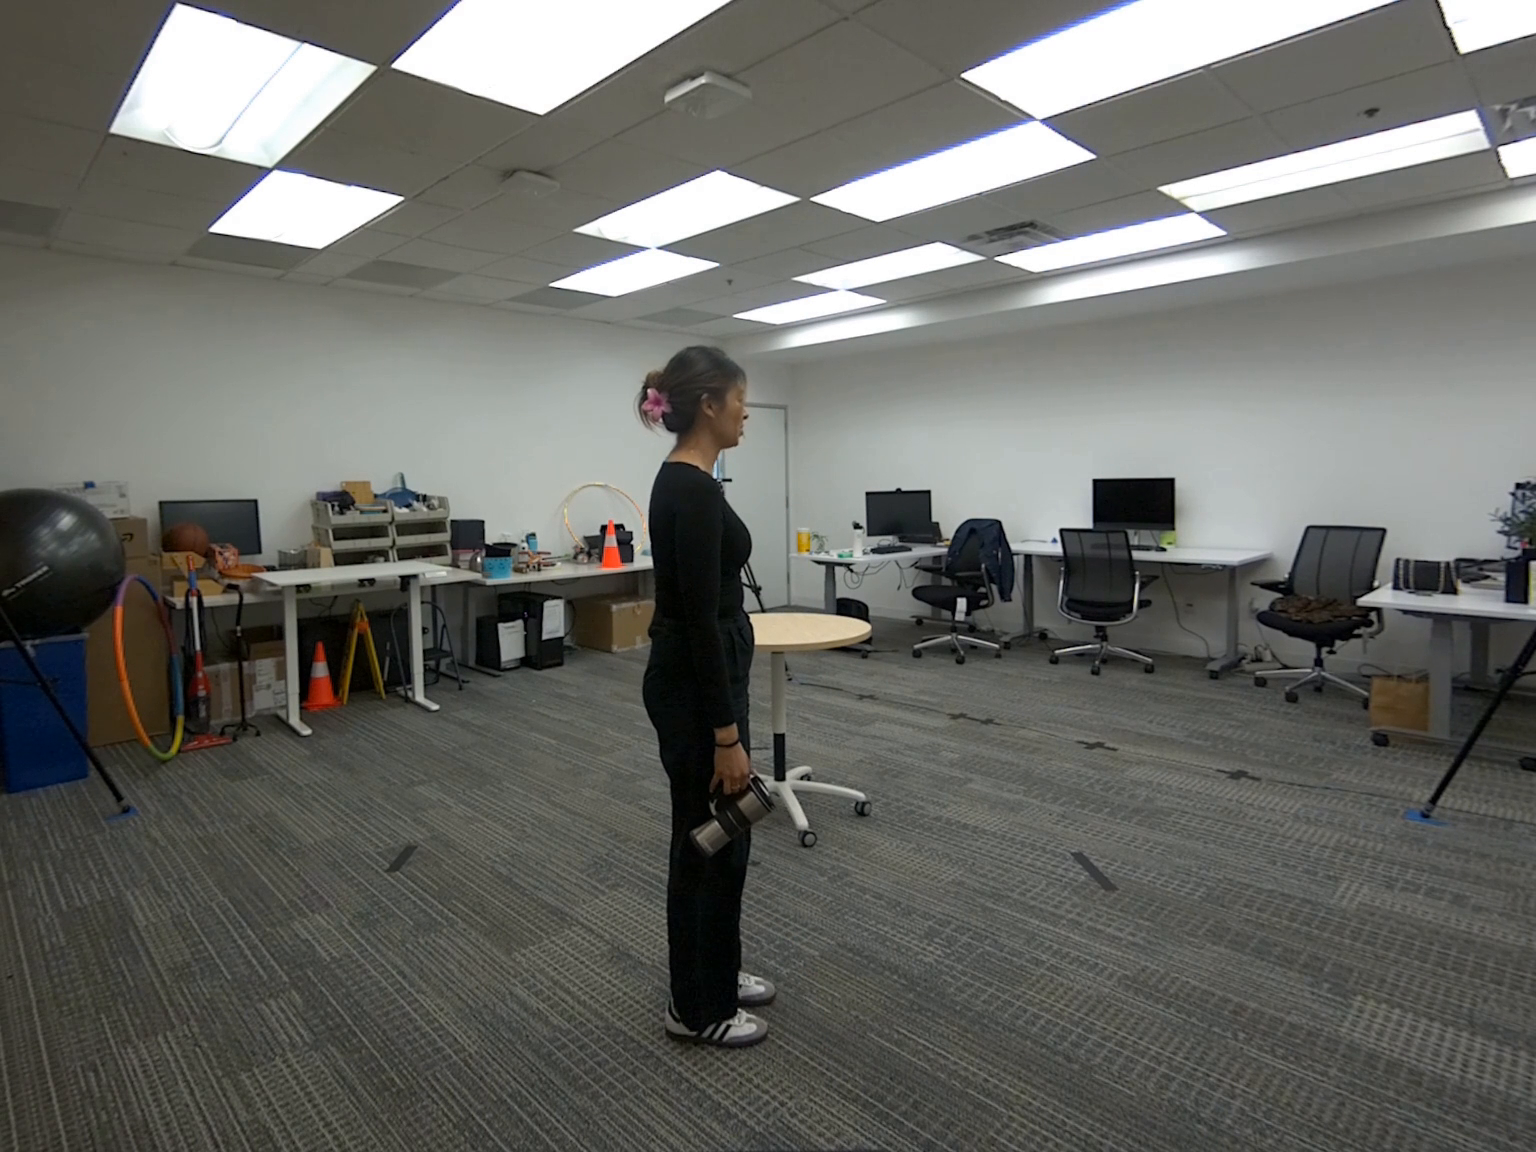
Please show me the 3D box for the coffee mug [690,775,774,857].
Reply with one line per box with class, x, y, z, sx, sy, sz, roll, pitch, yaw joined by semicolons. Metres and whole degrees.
coffee mug;-0.106;0.547;1.959;0.203;0.119;0.090;-36;16;-2
